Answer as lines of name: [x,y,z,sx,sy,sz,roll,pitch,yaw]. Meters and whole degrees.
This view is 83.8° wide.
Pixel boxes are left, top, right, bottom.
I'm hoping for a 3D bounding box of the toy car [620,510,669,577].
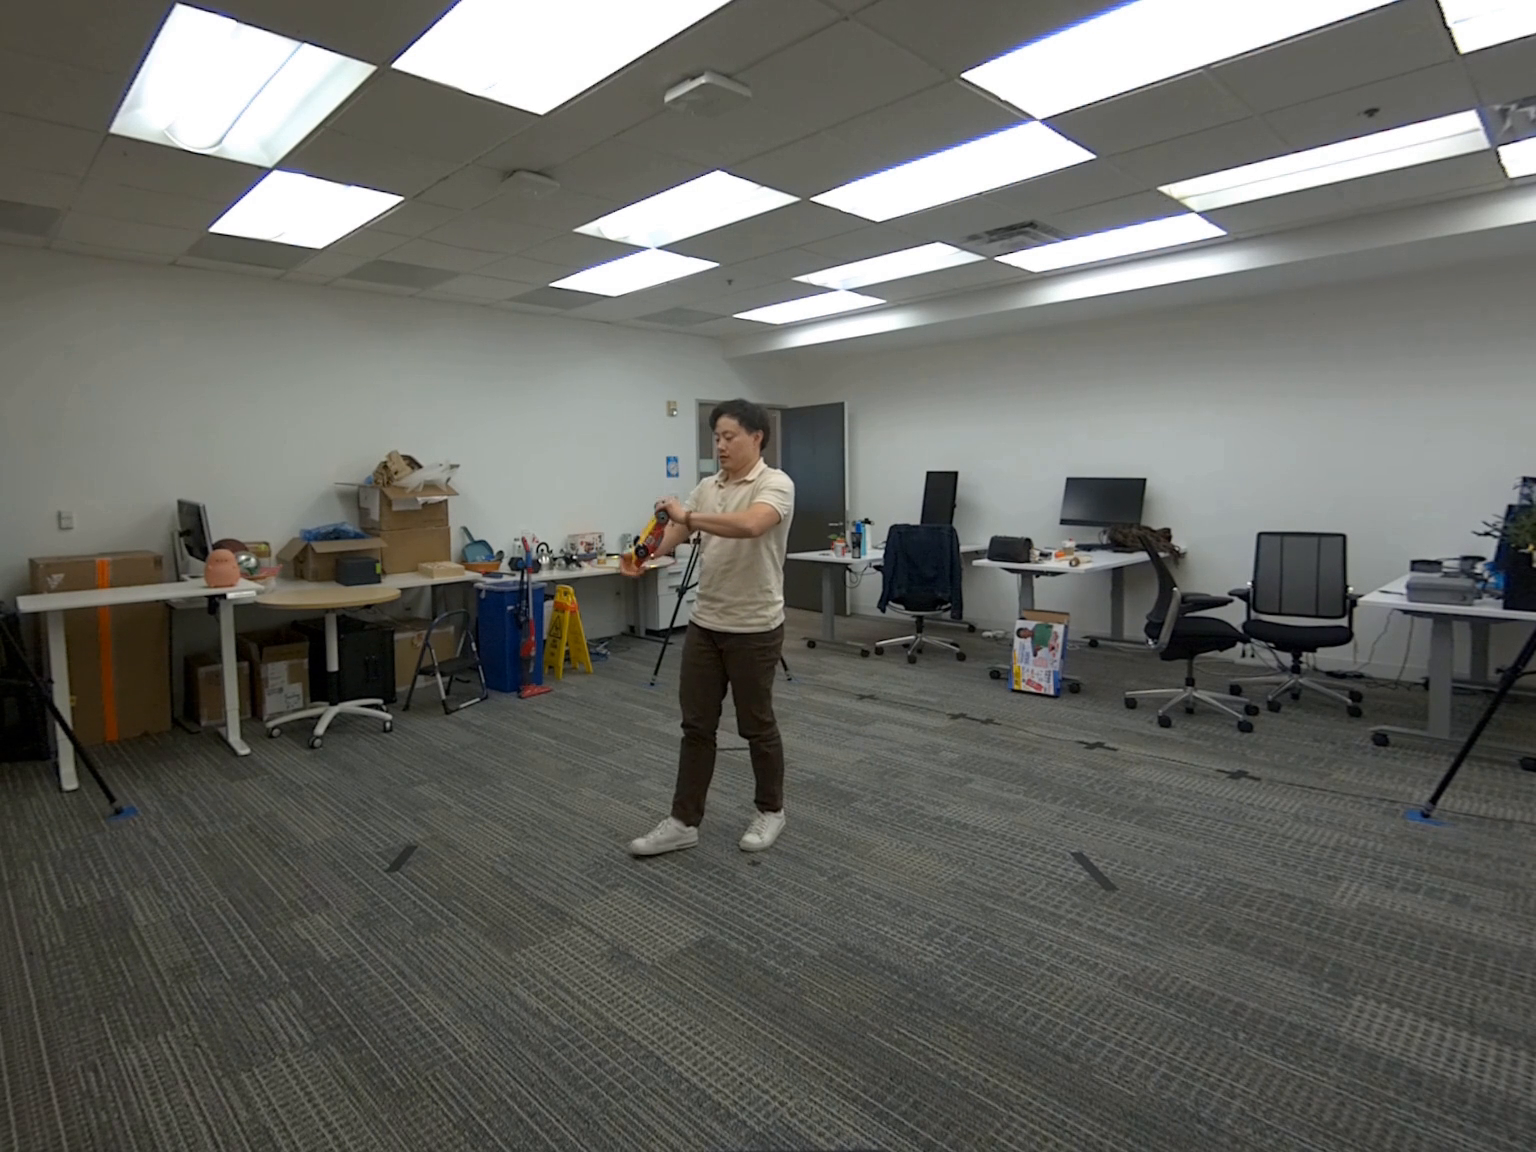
toy car: [-0.415,-0.140,2.987,0.082,0.252,0.134,16,17,-17]
